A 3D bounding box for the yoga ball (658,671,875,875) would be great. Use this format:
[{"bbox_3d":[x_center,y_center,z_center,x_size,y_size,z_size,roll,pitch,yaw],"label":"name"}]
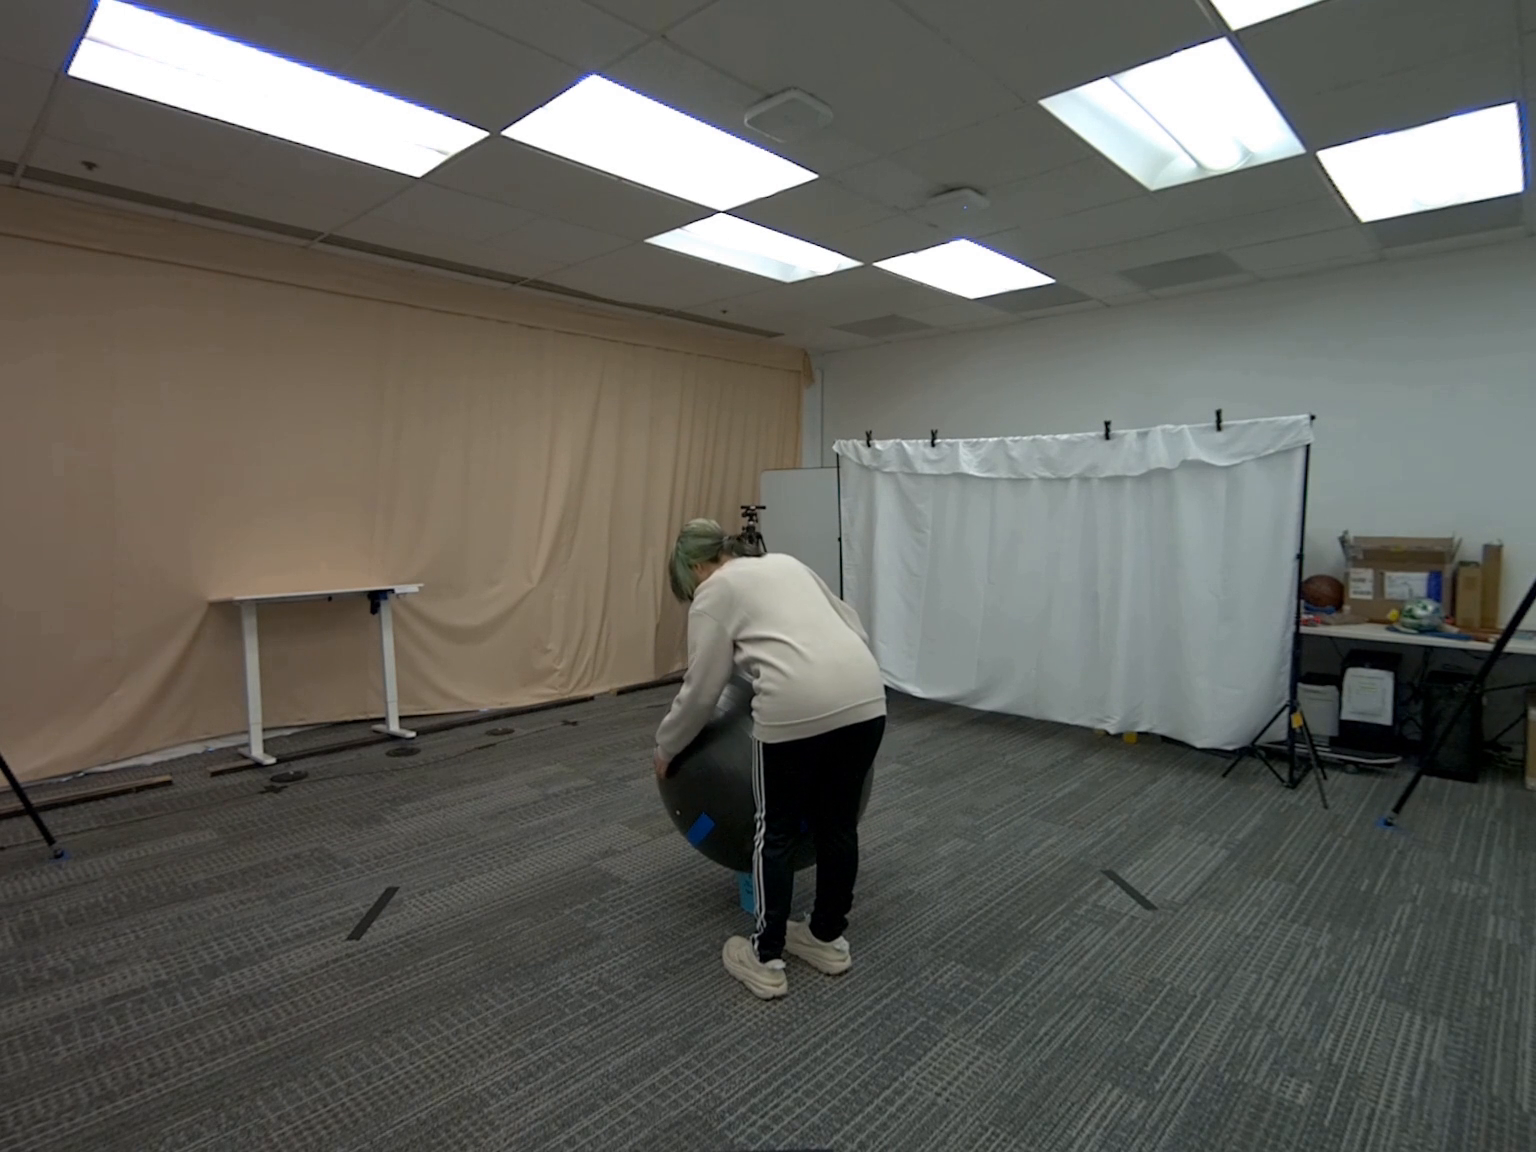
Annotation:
[{"bbox_3d":[-0.012,0.640,2.927,0.757,0.756,0.760,0,4,-2],"label":"yoga ball"}]
